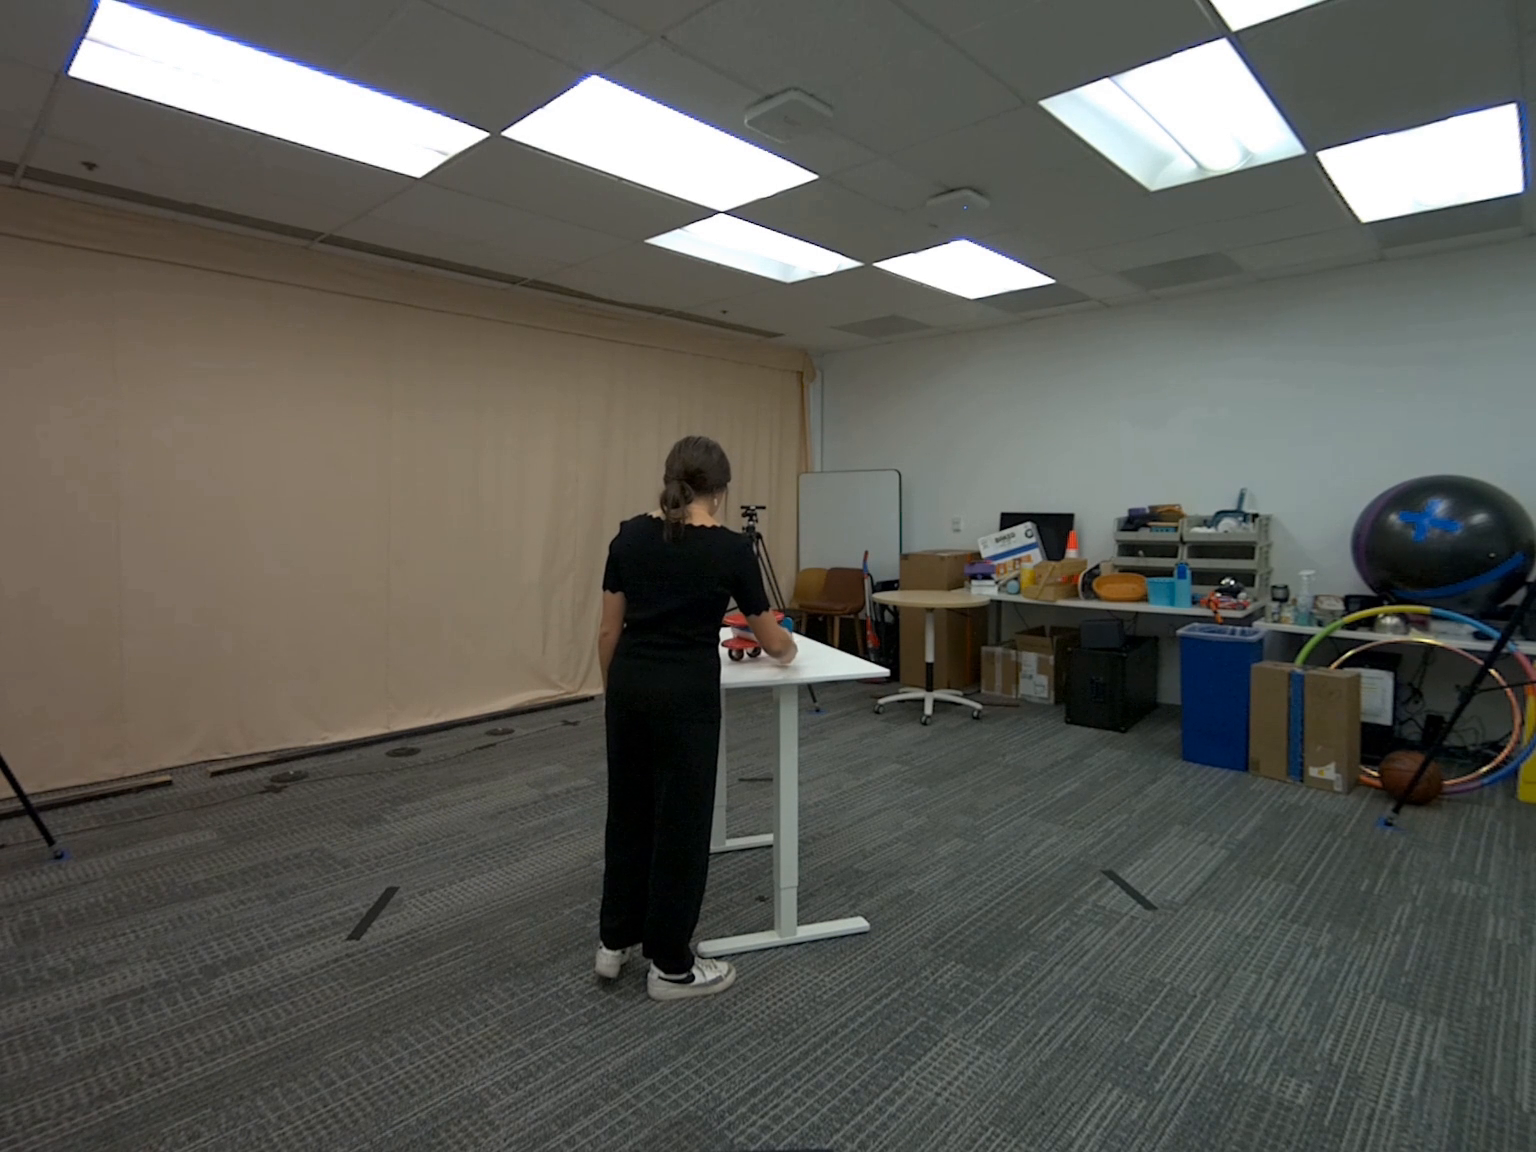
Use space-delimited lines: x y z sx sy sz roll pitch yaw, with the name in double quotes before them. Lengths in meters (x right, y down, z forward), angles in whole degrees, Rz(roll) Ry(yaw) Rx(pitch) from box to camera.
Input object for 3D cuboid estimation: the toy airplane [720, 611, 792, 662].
"toy airplane" -0.006 0.195 2.761 0.263 0.156 0.247 -6 0 16
